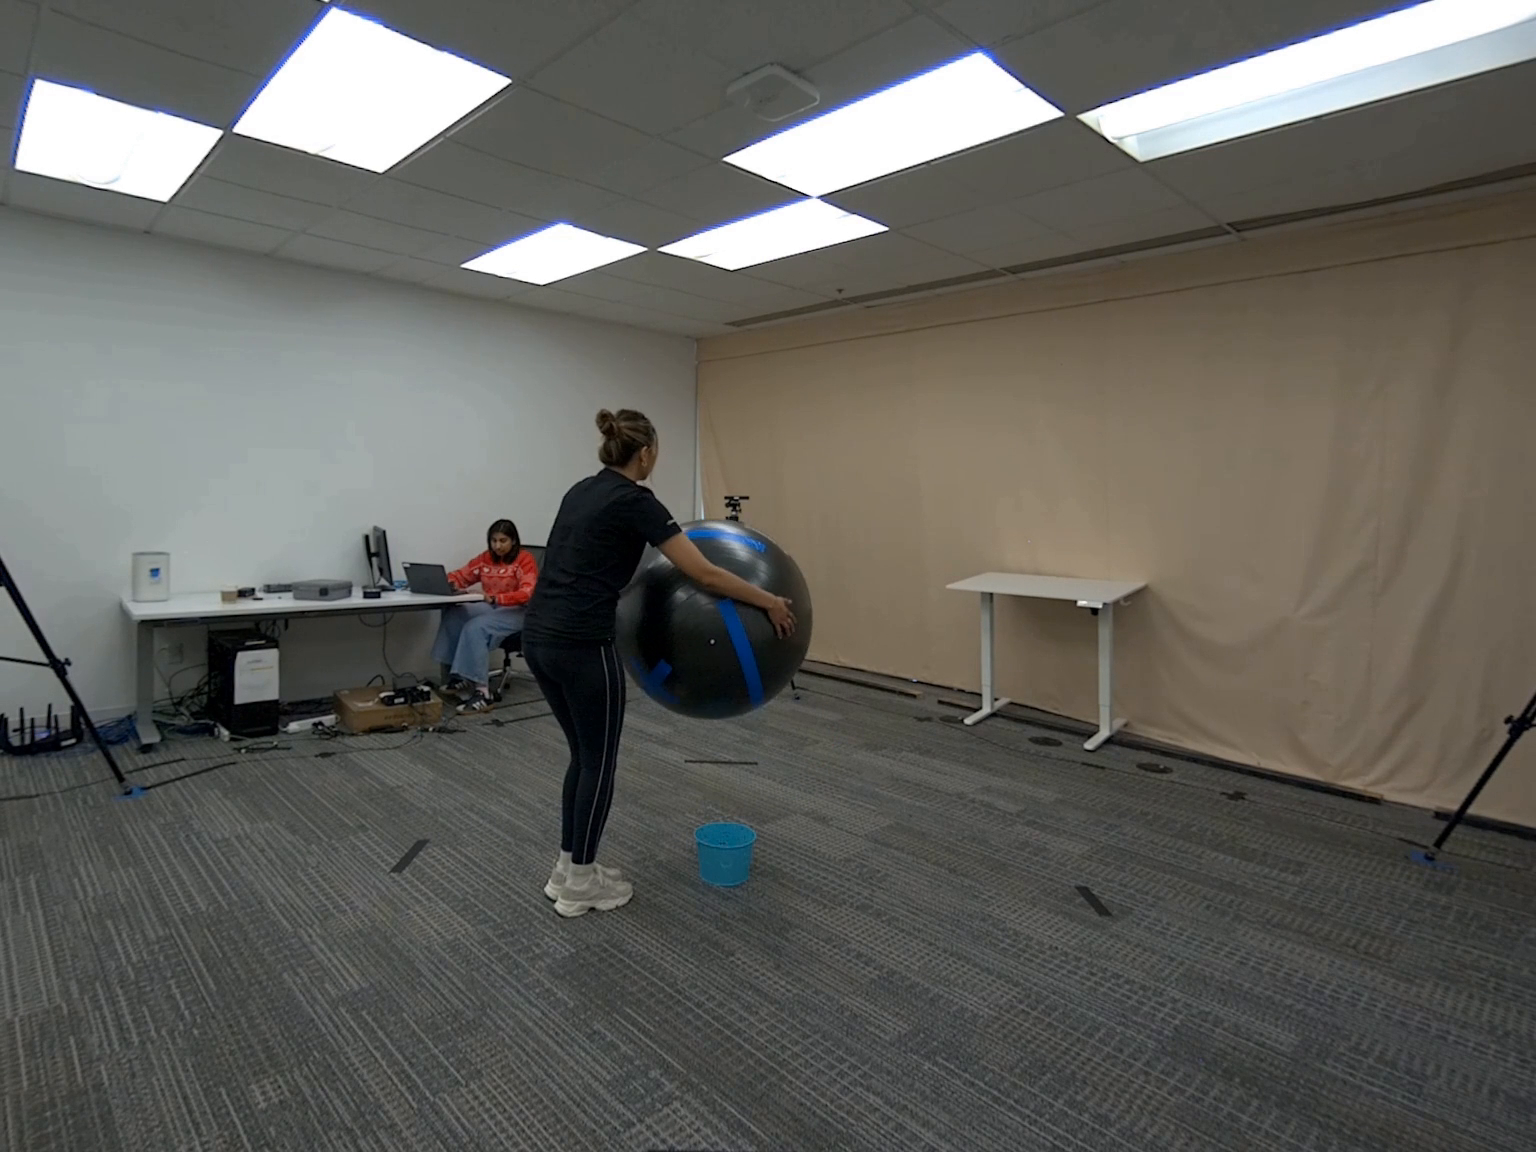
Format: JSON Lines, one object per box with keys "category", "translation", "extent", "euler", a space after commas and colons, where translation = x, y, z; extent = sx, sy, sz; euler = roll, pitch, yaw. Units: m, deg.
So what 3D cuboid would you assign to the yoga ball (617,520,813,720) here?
{"category": "yoga ball", "translation": [-0.215, 0.167, 3.210], "extent": [0.757, 0.756, 0.761], "euler": [1, 4, -1]}
